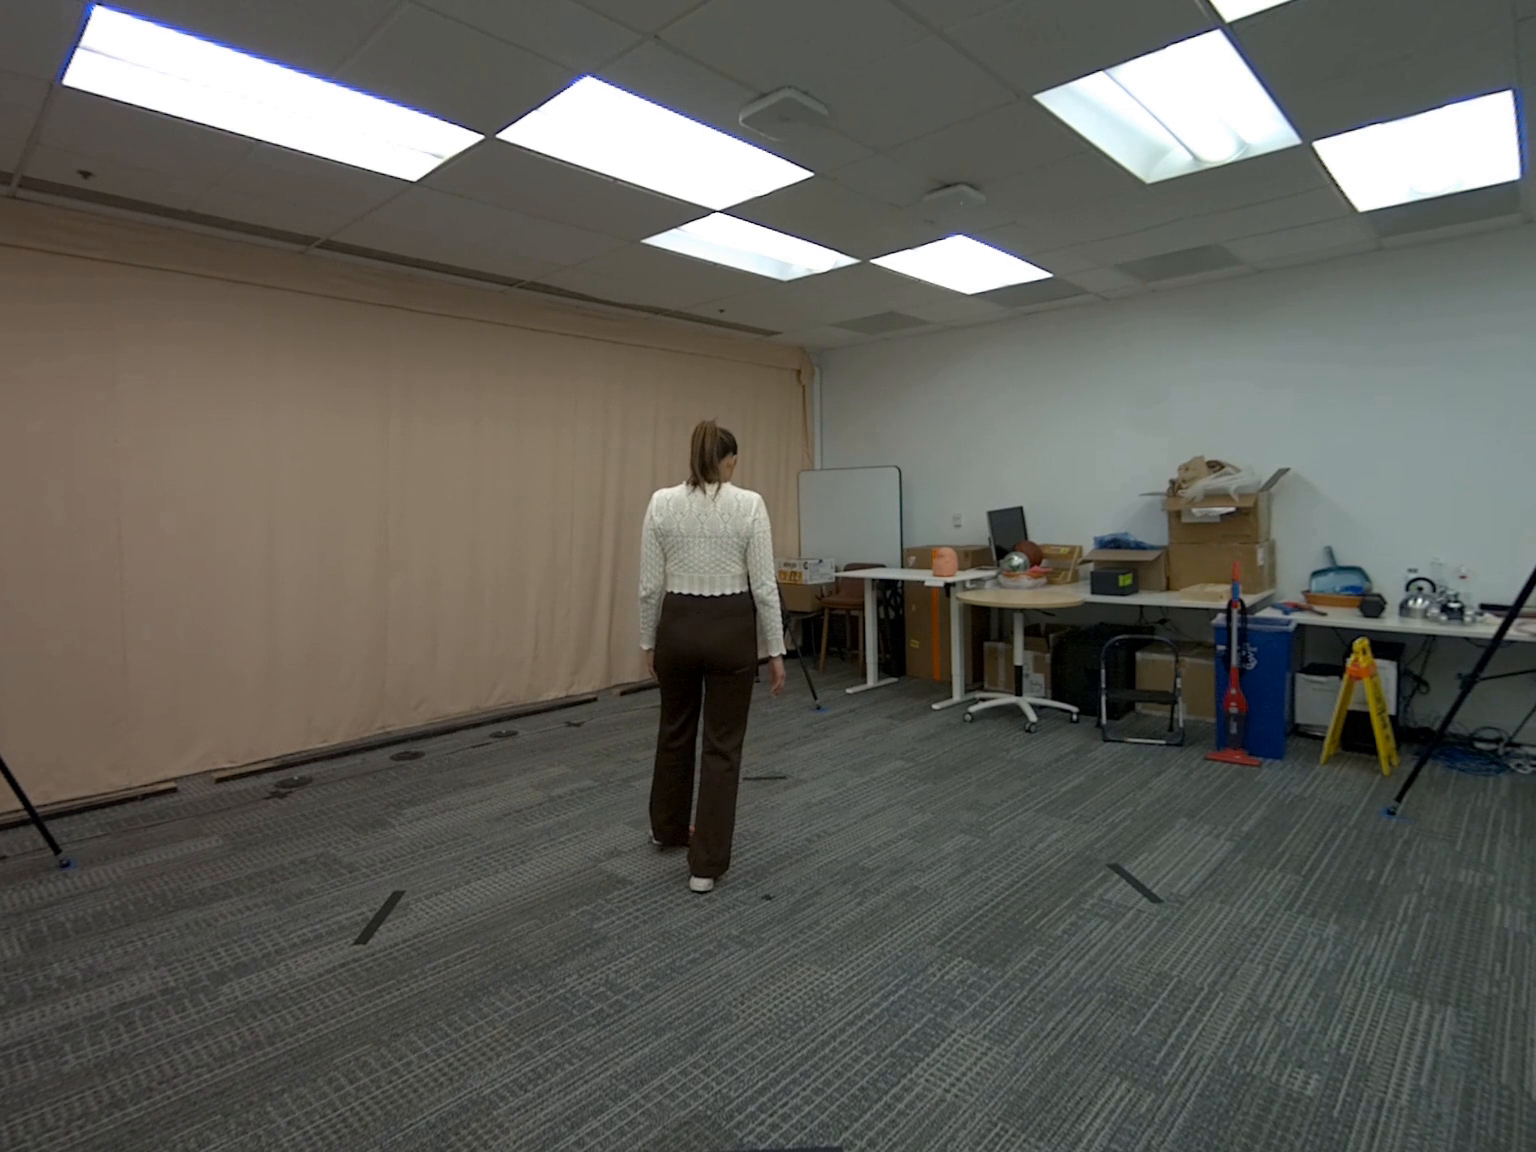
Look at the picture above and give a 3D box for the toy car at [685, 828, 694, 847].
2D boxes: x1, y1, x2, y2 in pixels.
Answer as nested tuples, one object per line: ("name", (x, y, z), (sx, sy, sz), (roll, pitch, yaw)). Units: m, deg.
("toy car", (-0.266, 1.075, 3.442), (0.260, 0.083, 0.127), (-11, 0, 23))
